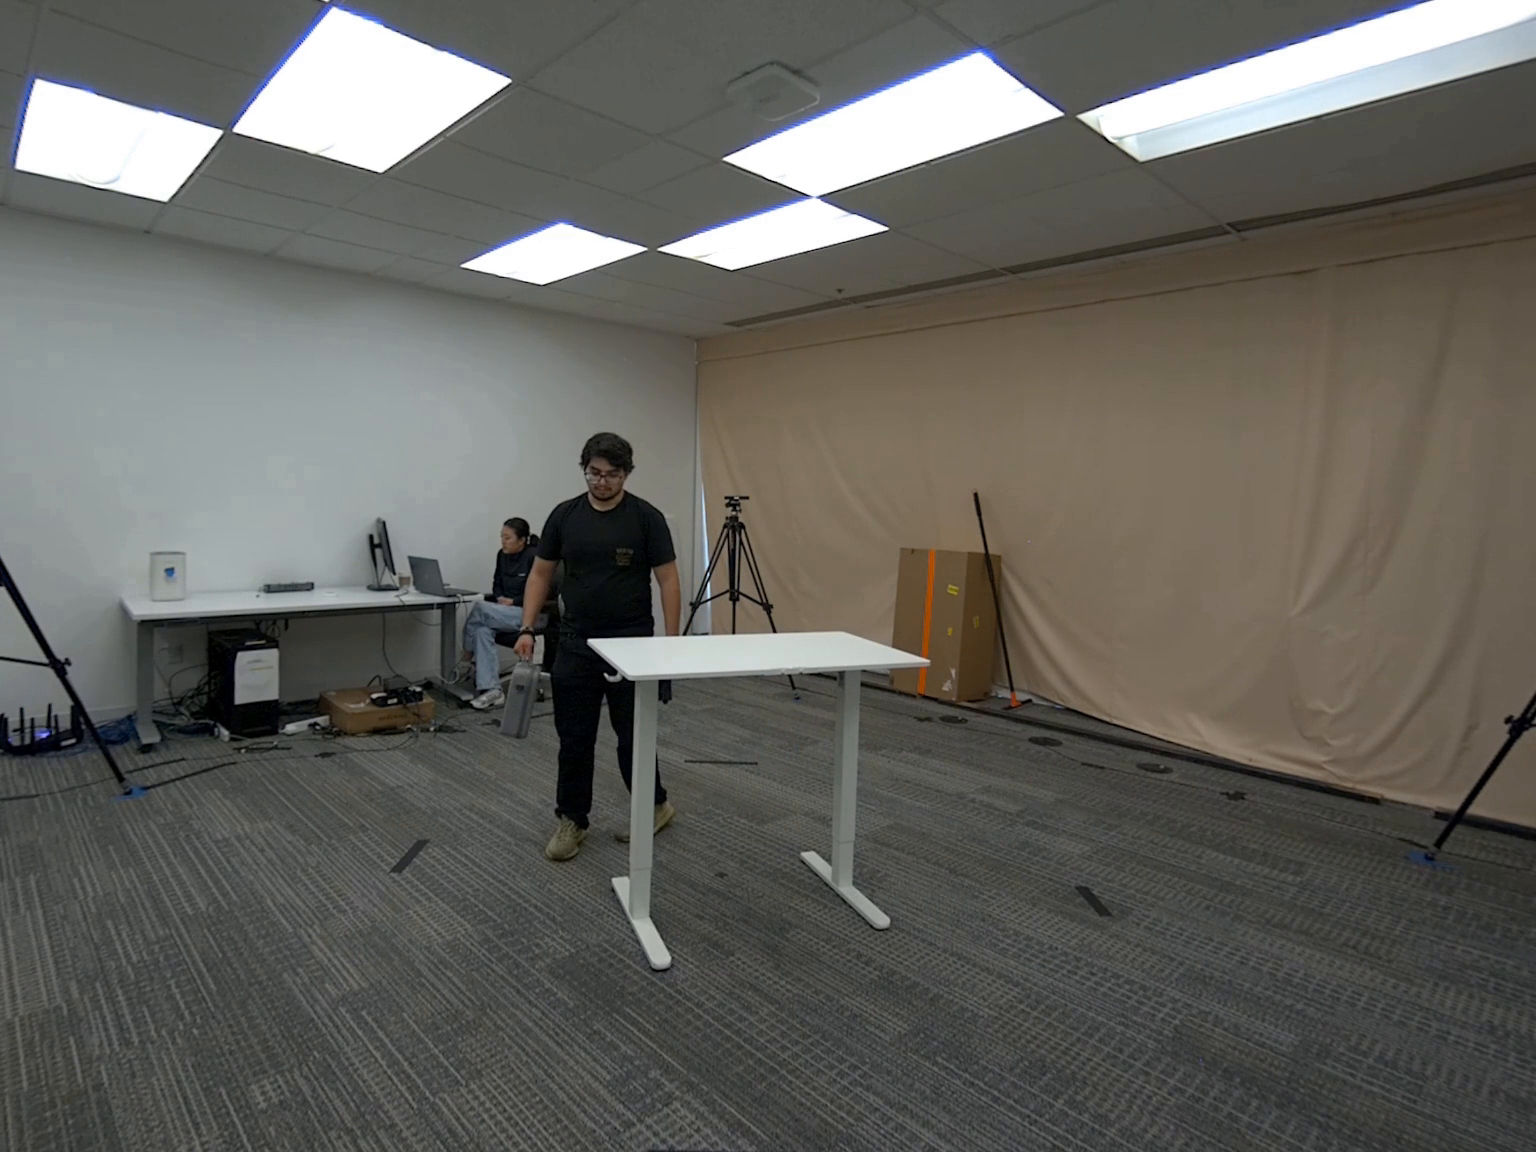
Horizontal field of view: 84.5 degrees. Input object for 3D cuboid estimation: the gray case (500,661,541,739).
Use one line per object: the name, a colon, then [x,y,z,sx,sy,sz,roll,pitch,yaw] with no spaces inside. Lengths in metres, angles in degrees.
gray case: [-0.930,0.457,3.192,0.103,0.261,0.260,11,0,-14]
